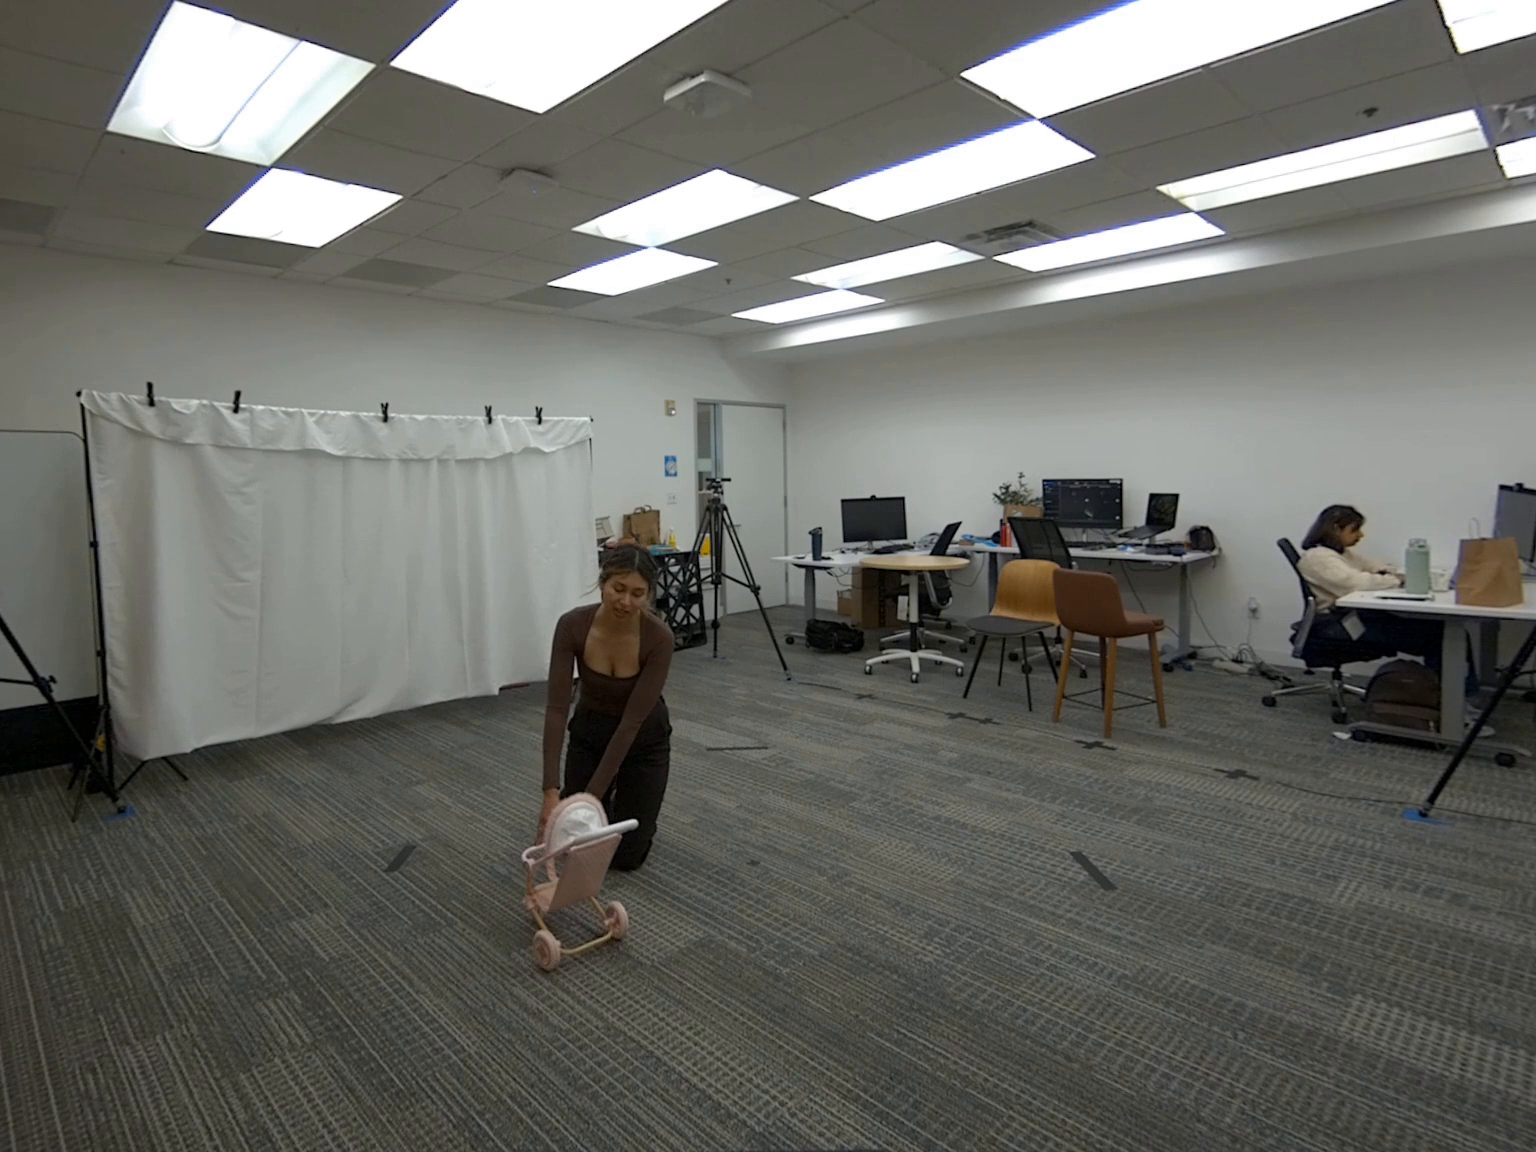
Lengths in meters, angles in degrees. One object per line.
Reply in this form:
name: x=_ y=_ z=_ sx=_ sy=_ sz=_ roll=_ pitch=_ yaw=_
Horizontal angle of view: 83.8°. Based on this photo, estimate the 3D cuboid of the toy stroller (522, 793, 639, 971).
toy stroller: x=-0.602 y=0.896 z=2.576 sx=0.274 sy=0.529 sz=0.354 roll=-2 pitch=20 yaw=-40
